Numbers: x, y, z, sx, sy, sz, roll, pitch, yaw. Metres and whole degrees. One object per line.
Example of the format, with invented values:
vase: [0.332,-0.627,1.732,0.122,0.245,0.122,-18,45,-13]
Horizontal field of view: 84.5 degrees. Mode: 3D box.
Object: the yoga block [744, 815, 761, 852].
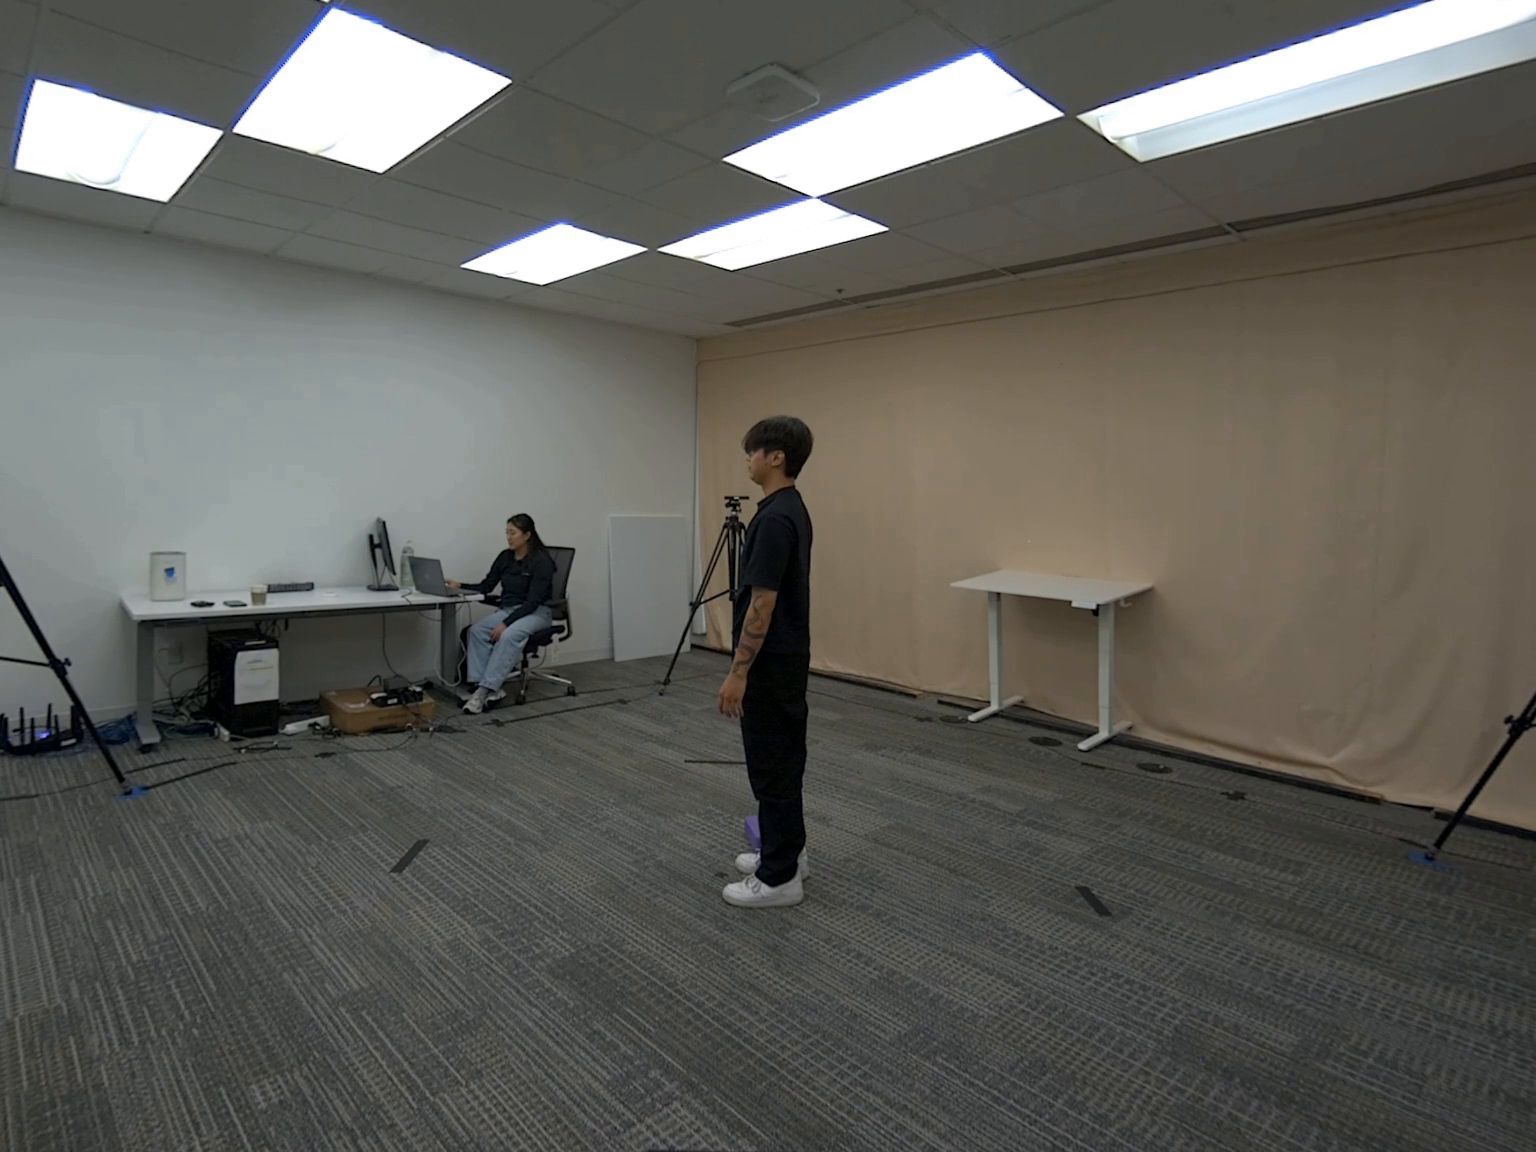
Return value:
yoga block: [-0.004,1.045,3.396,0.147,0.076,0.232,-1,6,-13]
